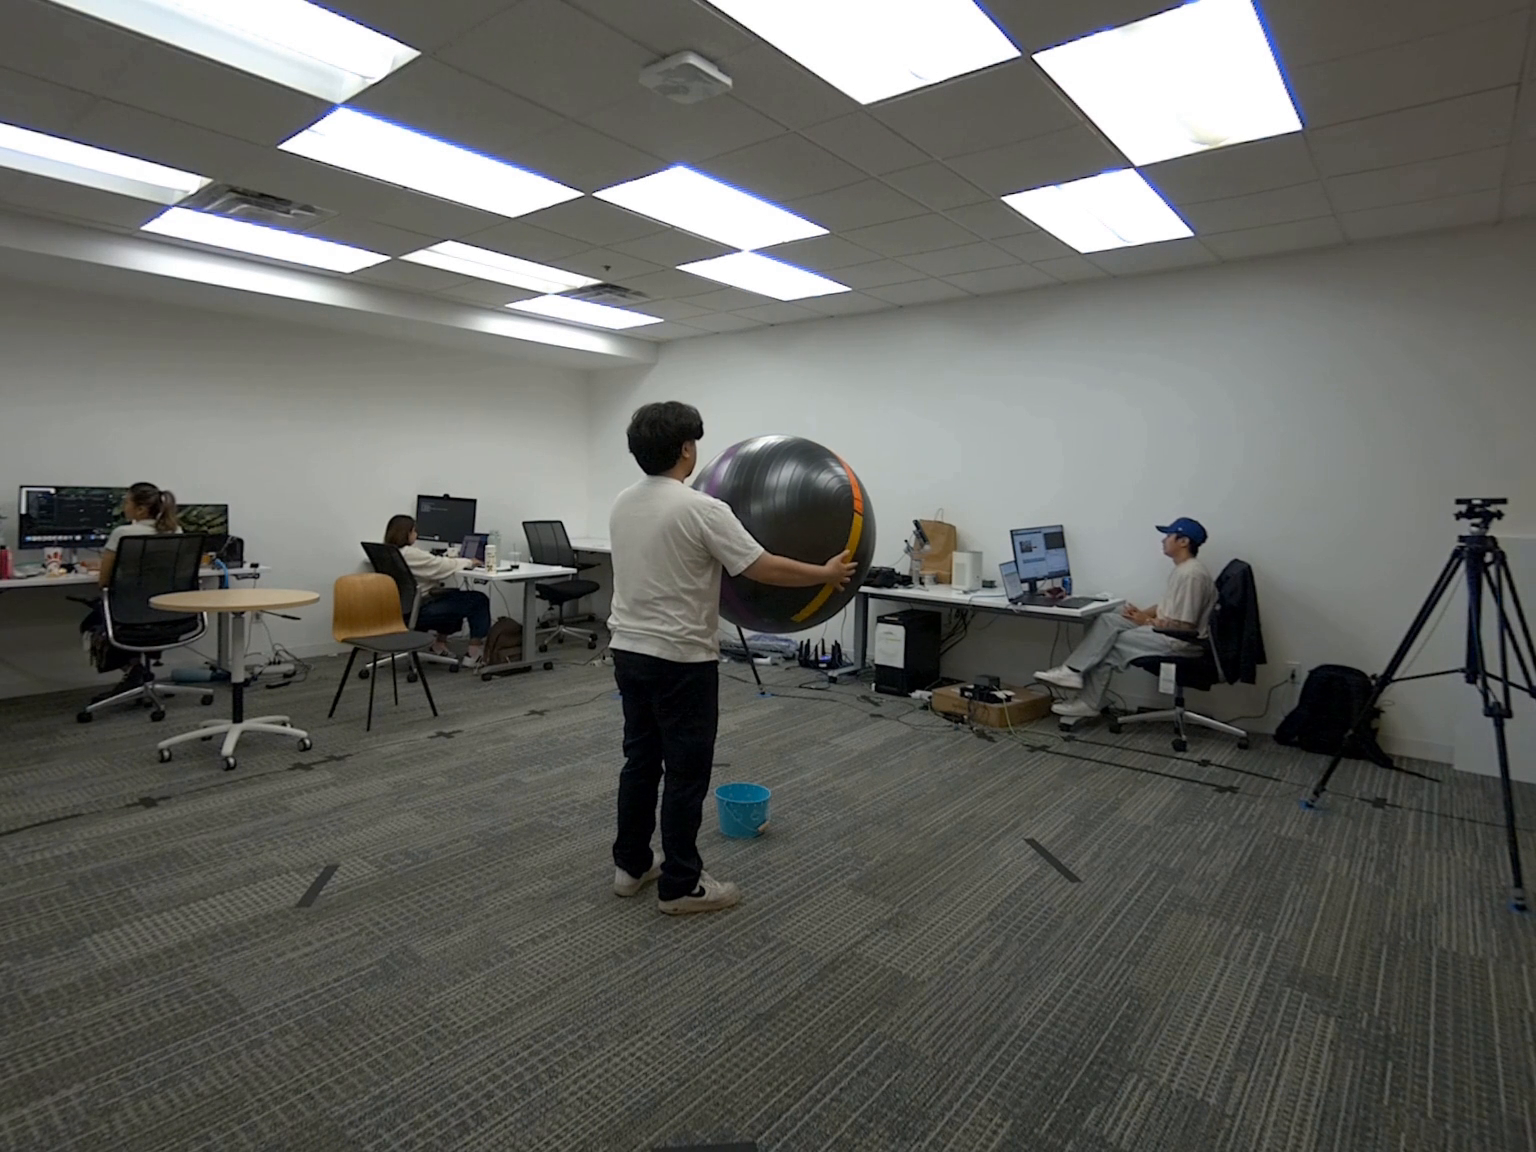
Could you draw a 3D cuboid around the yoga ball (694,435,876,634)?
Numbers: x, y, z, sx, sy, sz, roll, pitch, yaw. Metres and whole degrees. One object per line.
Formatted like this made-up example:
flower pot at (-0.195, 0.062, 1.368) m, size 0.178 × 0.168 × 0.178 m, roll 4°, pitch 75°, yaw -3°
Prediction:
yoga ball at (0.029, -0.158, 3.274) m, size 0.757 × 0.755 × 0.762 m, roll 1°, pitch 4°, yaw -2°
